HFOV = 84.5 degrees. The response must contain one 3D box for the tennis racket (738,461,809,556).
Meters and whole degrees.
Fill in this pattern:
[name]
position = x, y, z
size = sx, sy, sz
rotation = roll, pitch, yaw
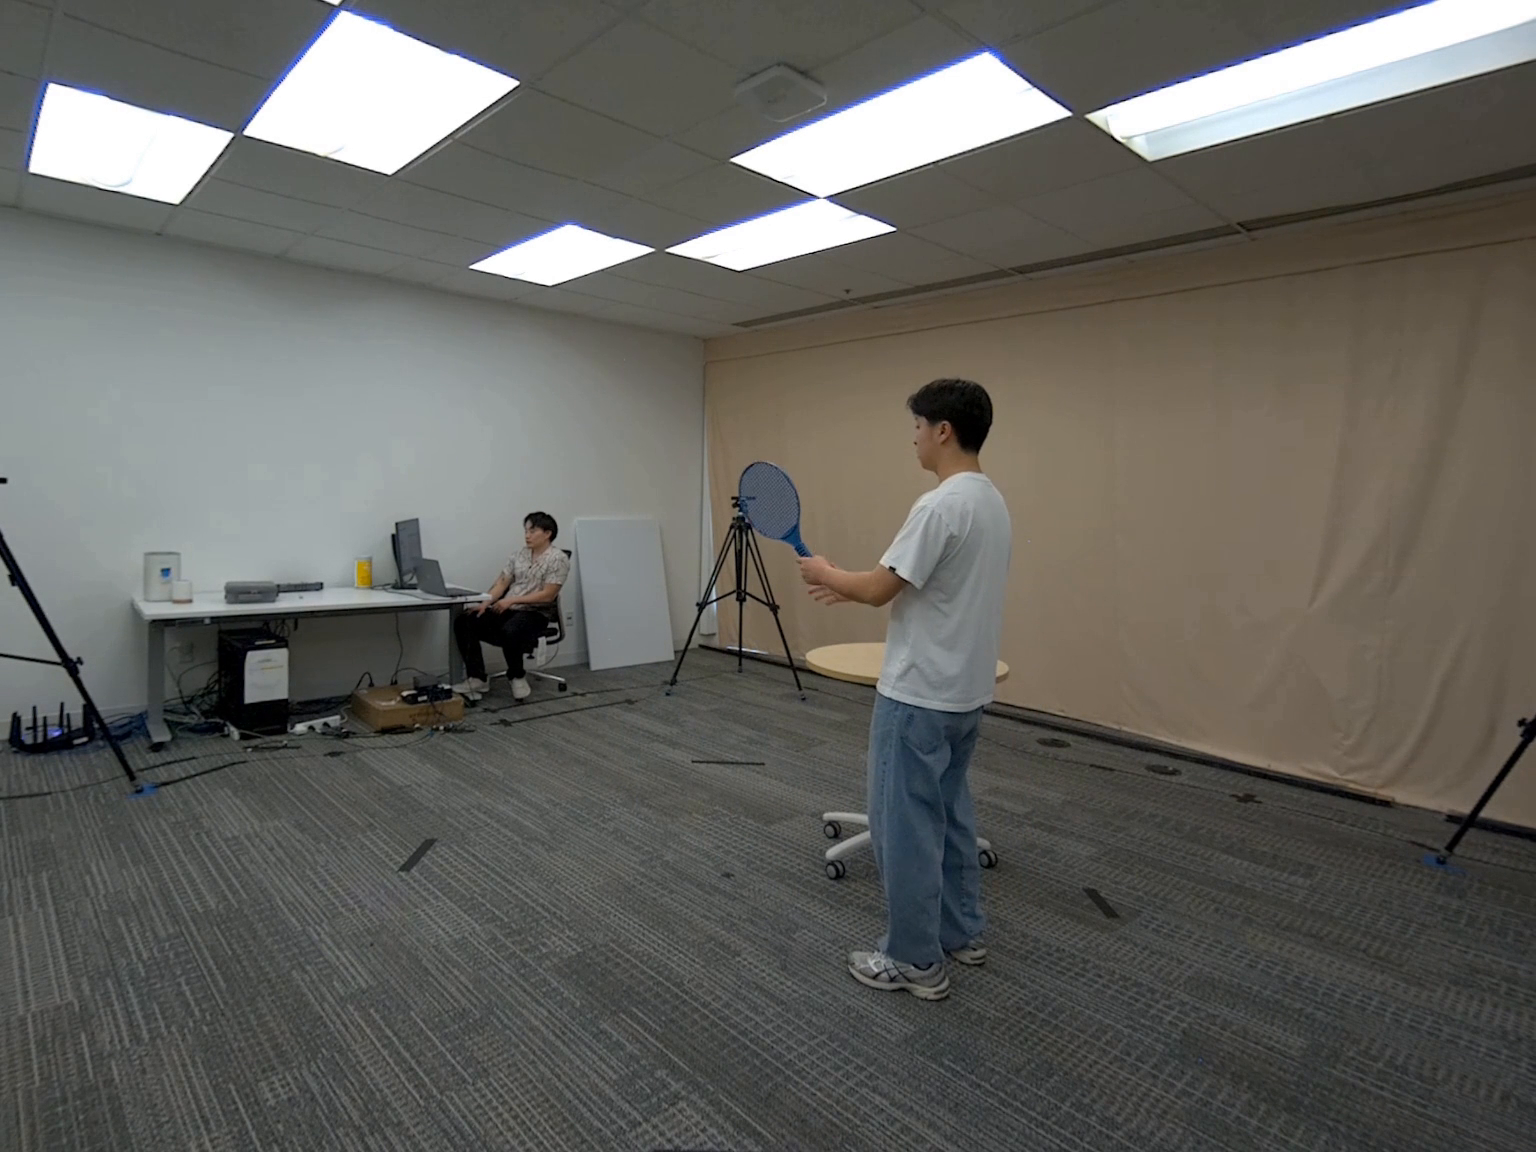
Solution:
[tennis racket]
position = 0.043, -0.173, 2.648
size = 0.214, 0.440, 0.031
rotation = -41, -18, 32
